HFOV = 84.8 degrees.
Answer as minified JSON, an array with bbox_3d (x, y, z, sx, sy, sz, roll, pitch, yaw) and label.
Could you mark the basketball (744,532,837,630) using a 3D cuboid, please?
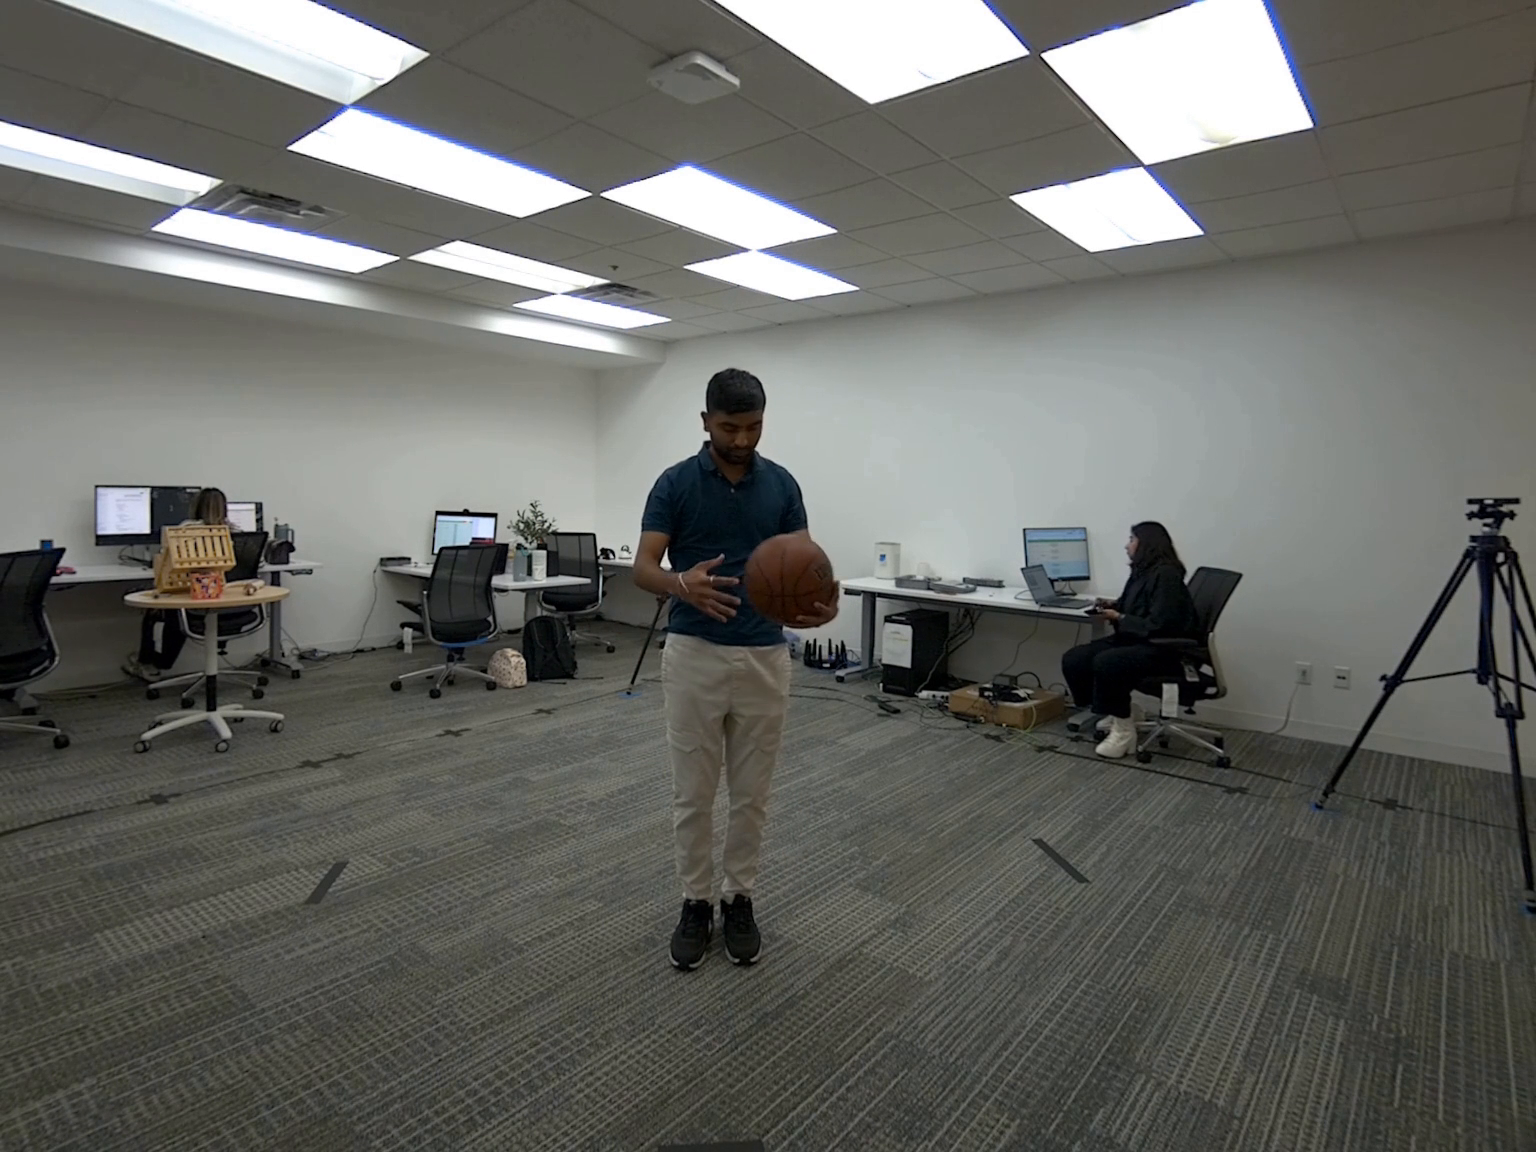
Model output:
[{"bbox_3d":[0.026,0.004,2.276,0.235,0.235,0.237,1,4,-2],"label":"basketball"}]
